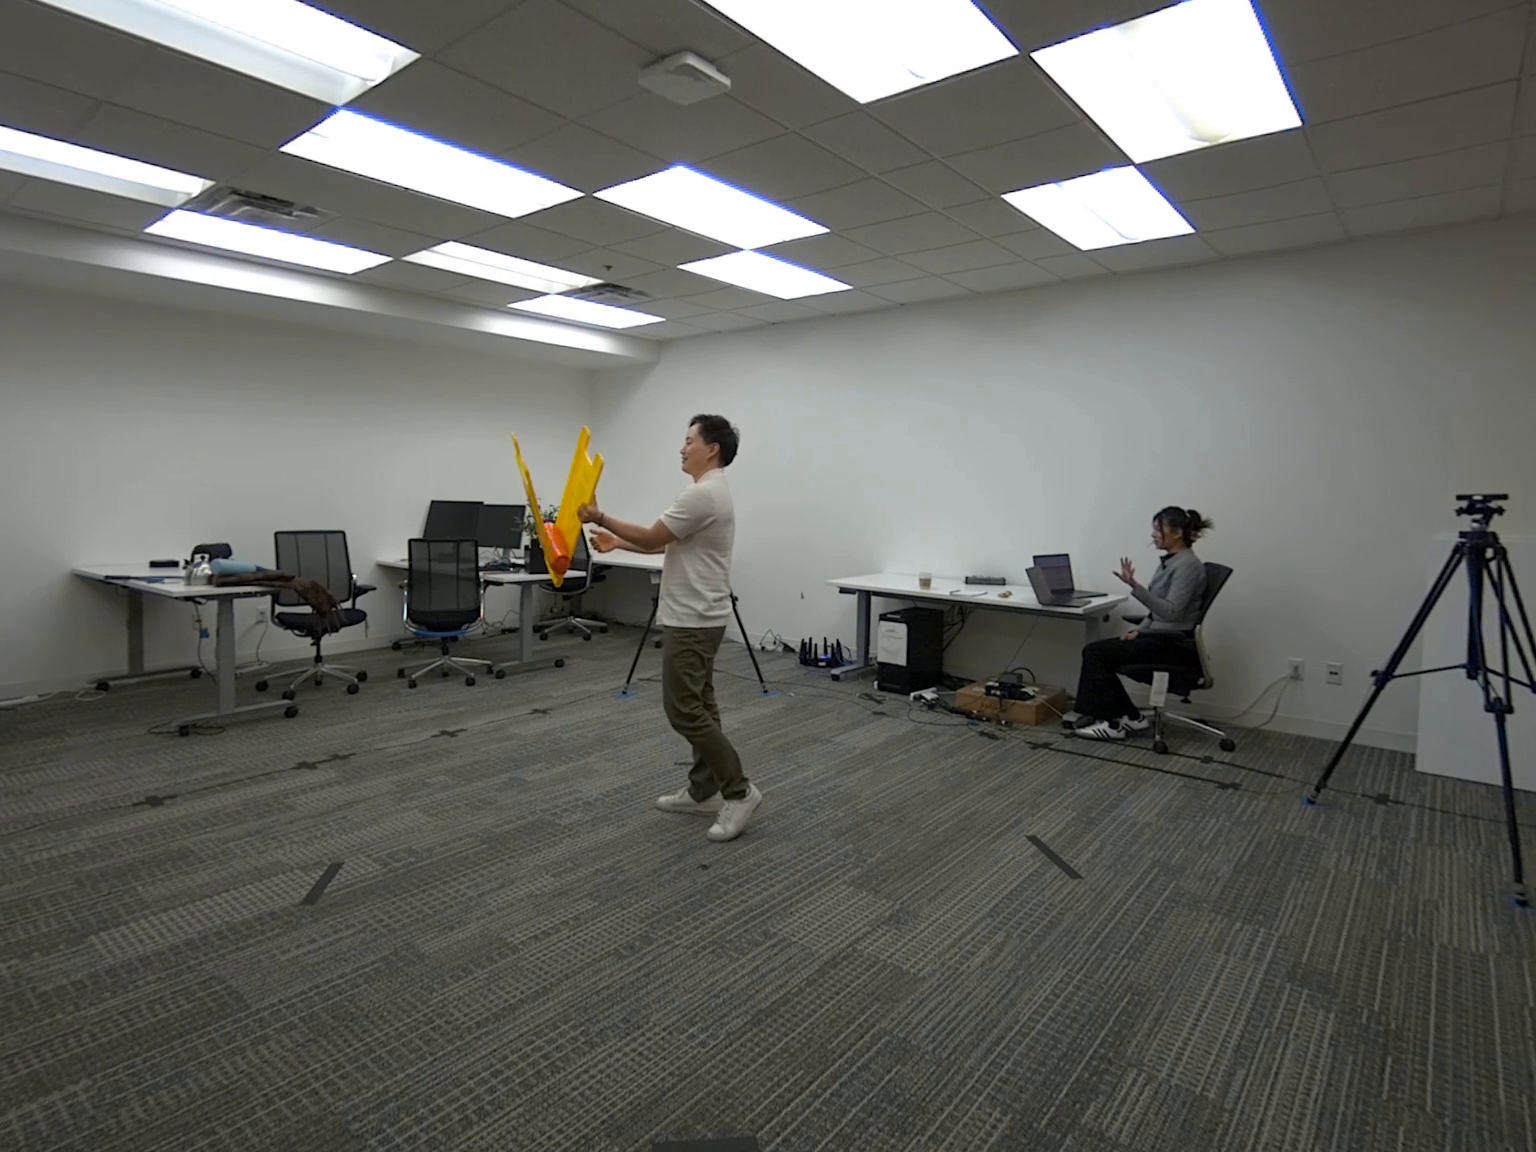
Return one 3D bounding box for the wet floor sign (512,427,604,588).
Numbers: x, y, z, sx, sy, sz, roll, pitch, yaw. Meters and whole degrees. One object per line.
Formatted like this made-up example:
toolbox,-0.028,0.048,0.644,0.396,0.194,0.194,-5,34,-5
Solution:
wet floor sign,-0.879,-0.254,3.463,0.284,0.633,0.294,-7,41,-25
